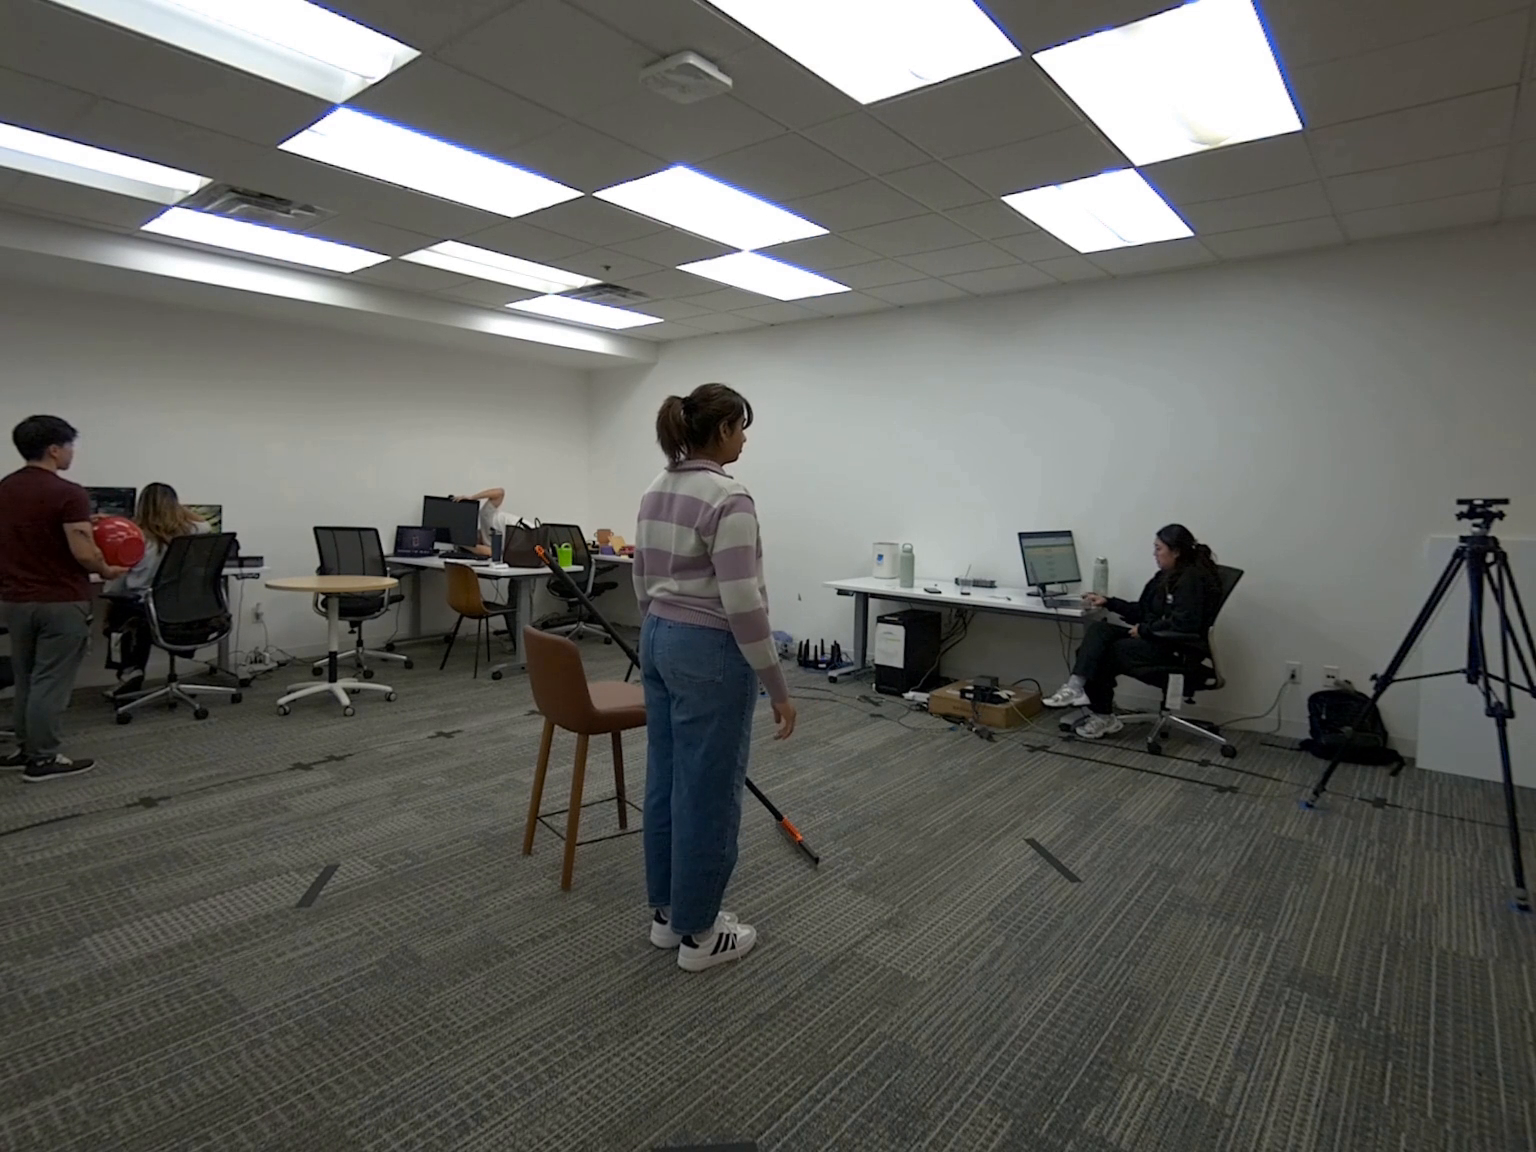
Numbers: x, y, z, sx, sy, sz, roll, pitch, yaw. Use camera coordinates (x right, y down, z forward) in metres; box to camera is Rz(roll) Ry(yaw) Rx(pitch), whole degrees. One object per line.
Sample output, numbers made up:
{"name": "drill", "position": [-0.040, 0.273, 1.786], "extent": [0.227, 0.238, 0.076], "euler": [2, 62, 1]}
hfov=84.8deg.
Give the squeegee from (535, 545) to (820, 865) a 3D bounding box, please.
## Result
{"name": "squeegee", "position": [-0.347, 0.459, 3.156], "extent": [0.053, 1.512, 0.446], "euler": [-42, 12, -11]}
